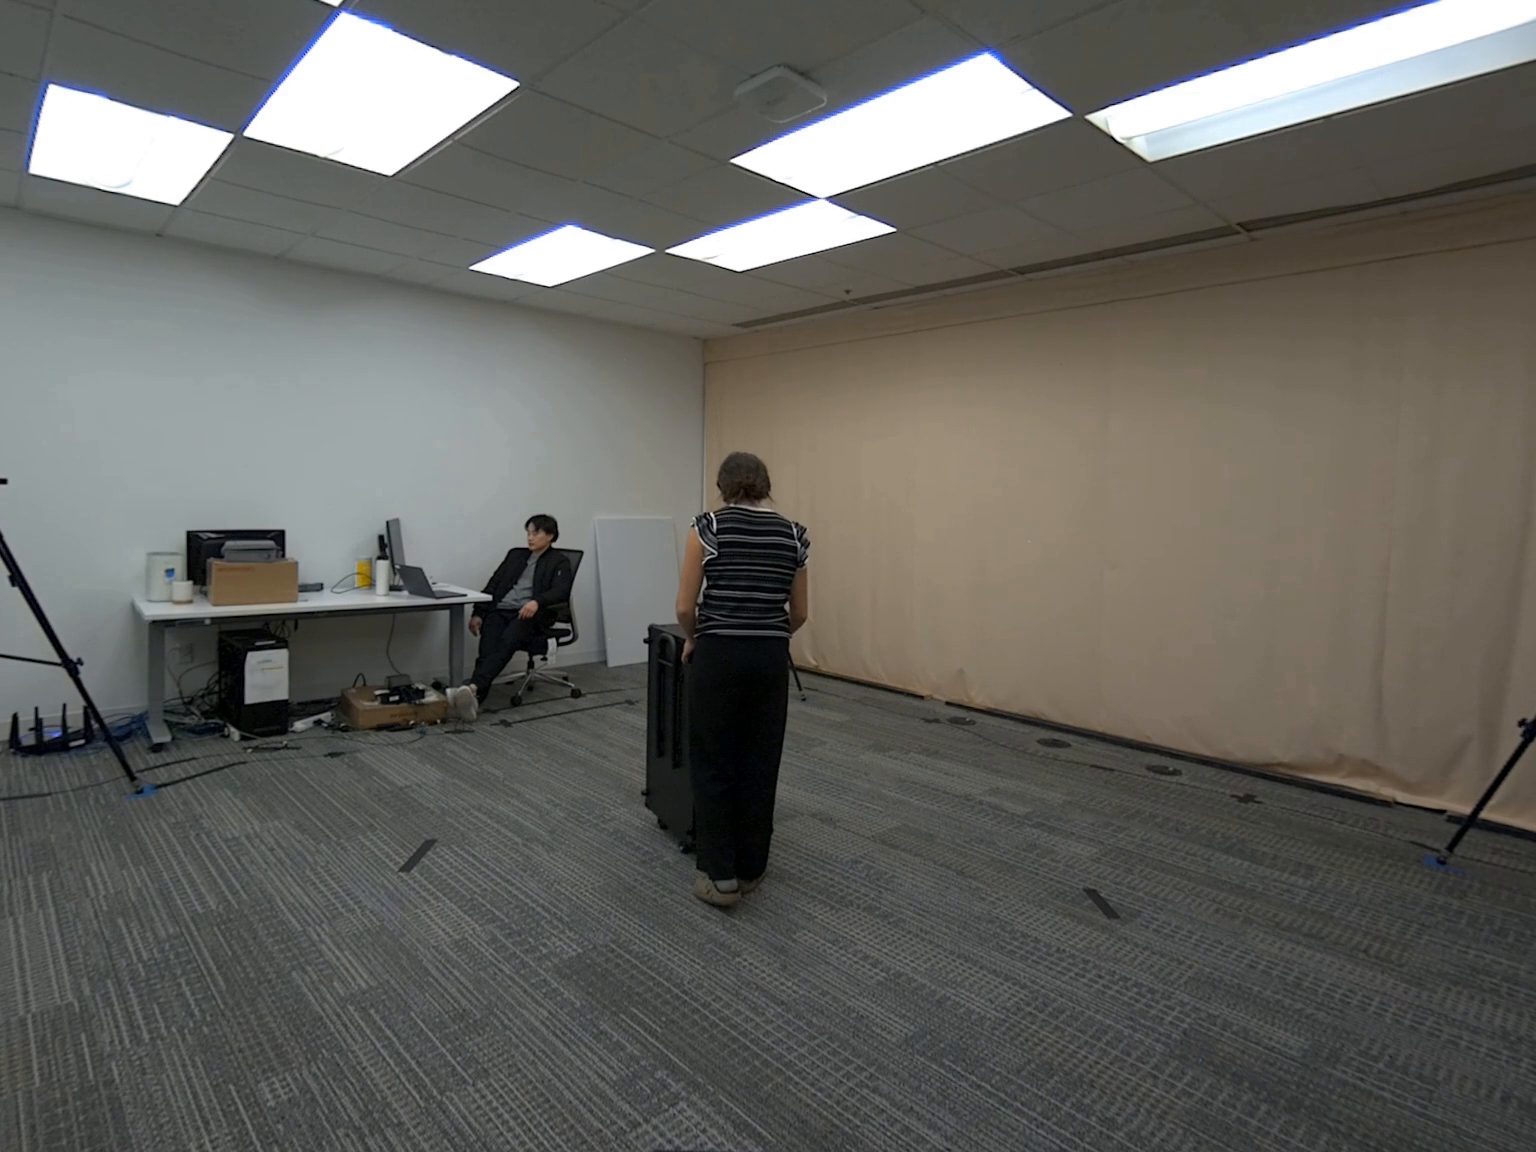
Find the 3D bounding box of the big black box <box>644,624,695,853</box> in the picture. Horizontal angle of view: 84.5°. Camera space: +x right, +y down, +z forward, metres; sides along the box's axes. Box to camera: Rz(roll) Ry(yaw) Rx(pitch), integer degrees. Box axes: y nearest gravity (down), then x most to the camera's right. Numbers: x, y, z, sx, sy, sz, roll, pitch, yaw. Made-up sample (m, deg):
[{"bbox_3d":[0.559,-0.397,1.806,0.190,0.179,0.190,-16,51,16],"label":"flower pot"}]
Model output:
[{"bbox_3d":[-0.259,0.653,3.443,0.388,0.859,0.533,-1,5,-29],"label":"big black box"}]
